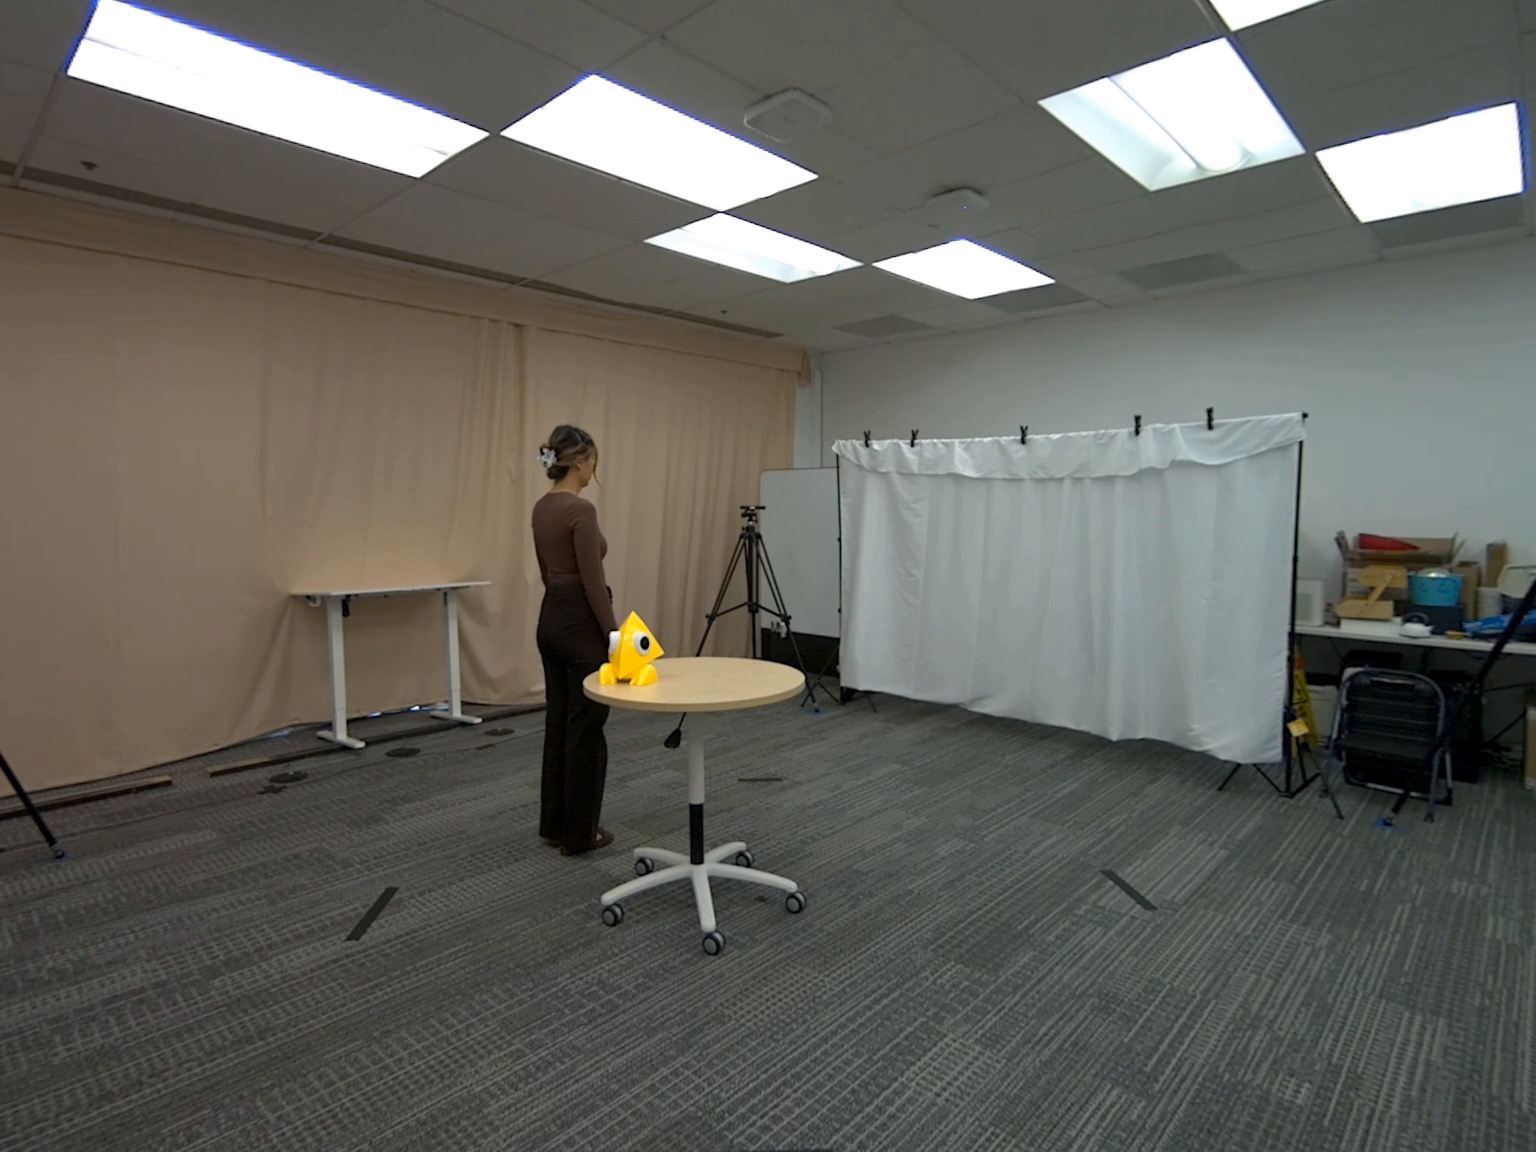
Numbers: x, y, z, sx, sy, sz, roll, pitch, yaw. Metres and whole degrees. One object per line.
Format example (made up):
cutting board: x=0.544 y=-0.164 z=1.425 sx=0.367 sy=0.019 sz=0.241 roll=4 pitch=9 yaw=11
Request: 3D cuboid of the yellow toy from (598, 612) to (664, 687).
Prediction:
yellow toy: x=-0.482 y=0.247 z=2.897 sx=0.207 sy=0.230 sz=0.191 roll=0 pitch=4 yaw=10
